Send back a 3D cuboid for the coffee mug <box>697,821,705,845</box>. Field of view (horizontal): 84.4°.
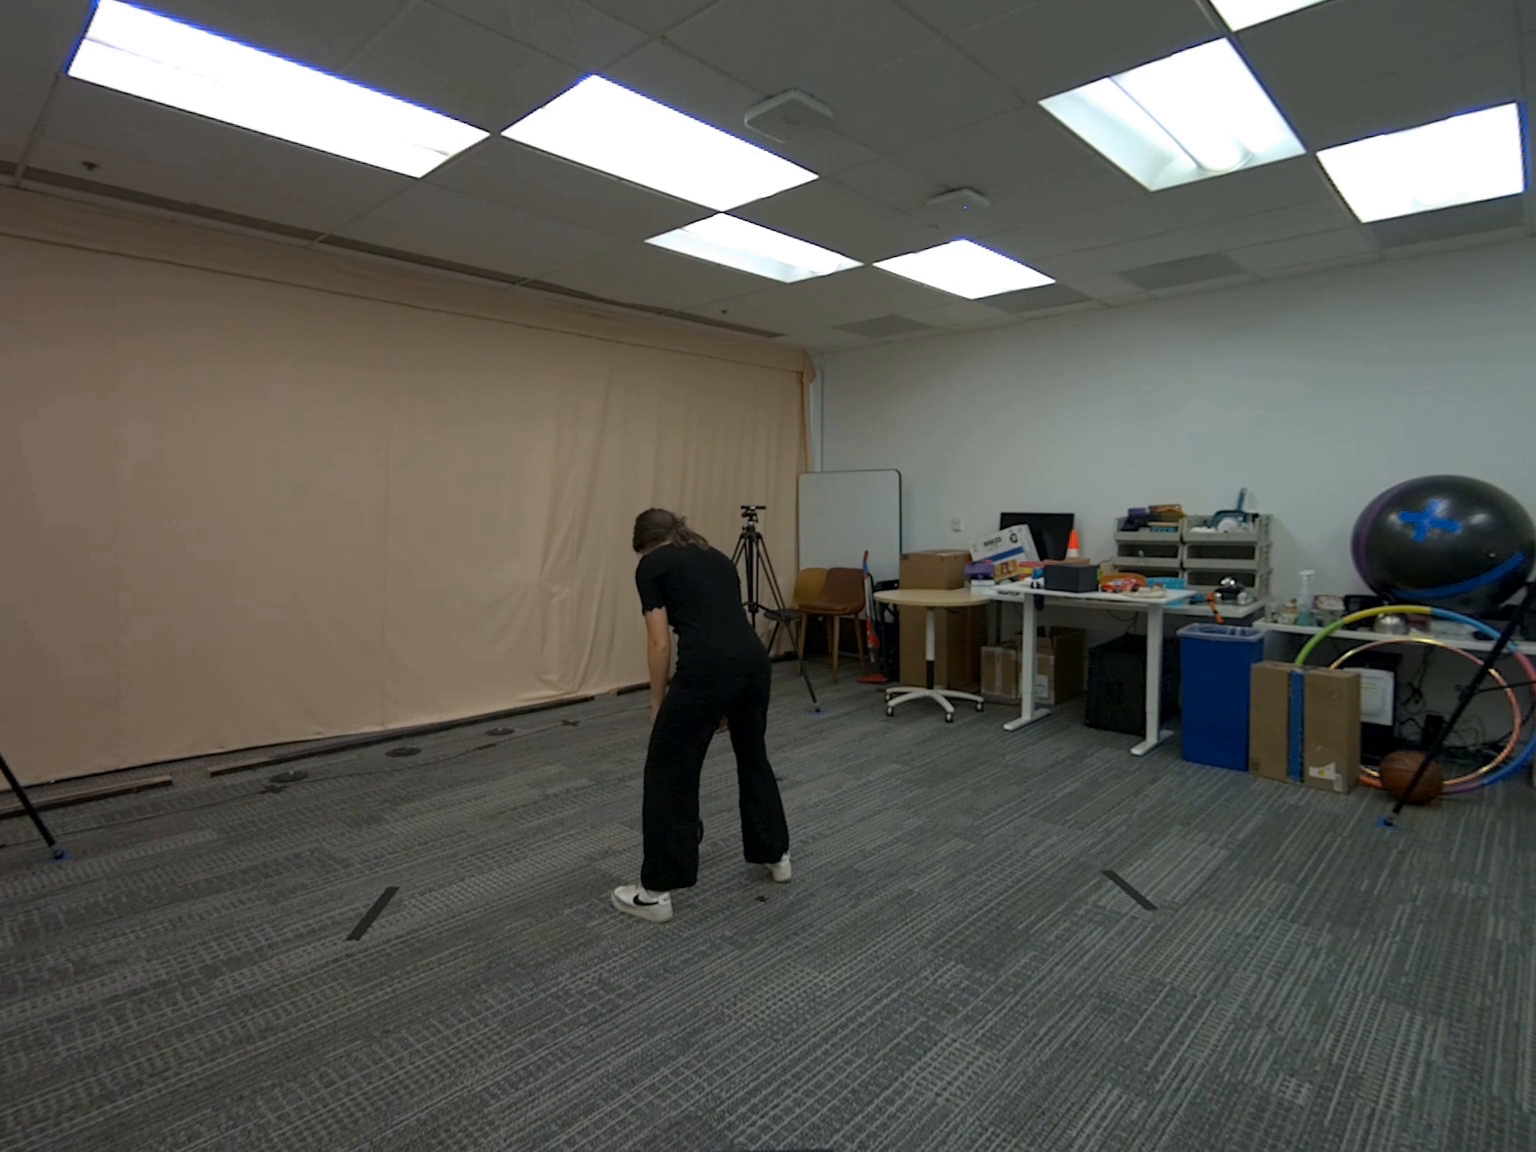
[{"bbox_3d":[-0.314,1.024,3.258,0.085,0.203,0.126,0,-1,-43],"label":"coffee mug"}]
